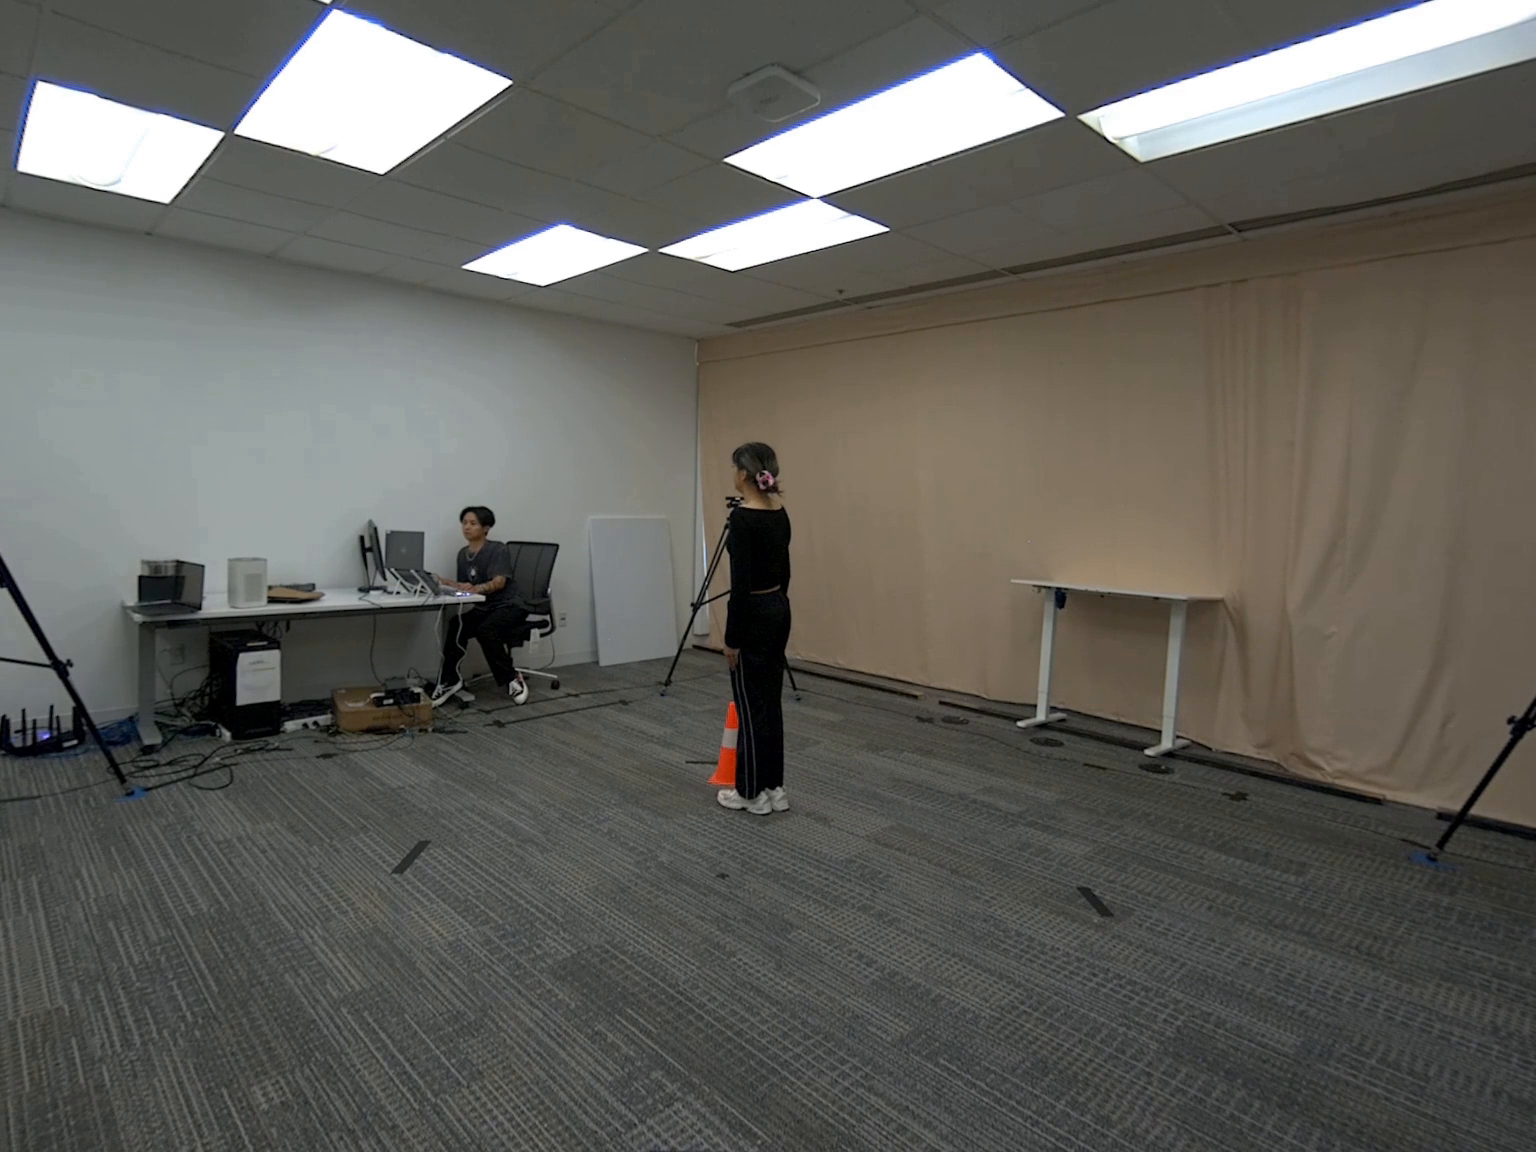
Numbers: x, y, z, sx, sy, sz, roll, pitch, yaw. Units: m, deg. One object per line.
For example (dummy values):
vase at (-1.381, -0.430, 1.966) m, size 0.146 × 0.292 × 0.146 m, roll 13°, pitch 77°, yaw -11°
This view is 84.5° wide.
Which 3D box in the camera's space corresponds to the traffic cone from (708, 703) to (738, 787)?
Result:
traffic cone at (-0.188, 0.824, 4.206) m, size 0.205 × 0.383 × 0.204 m, roll 4°, pitch 3°, yaw 9°
